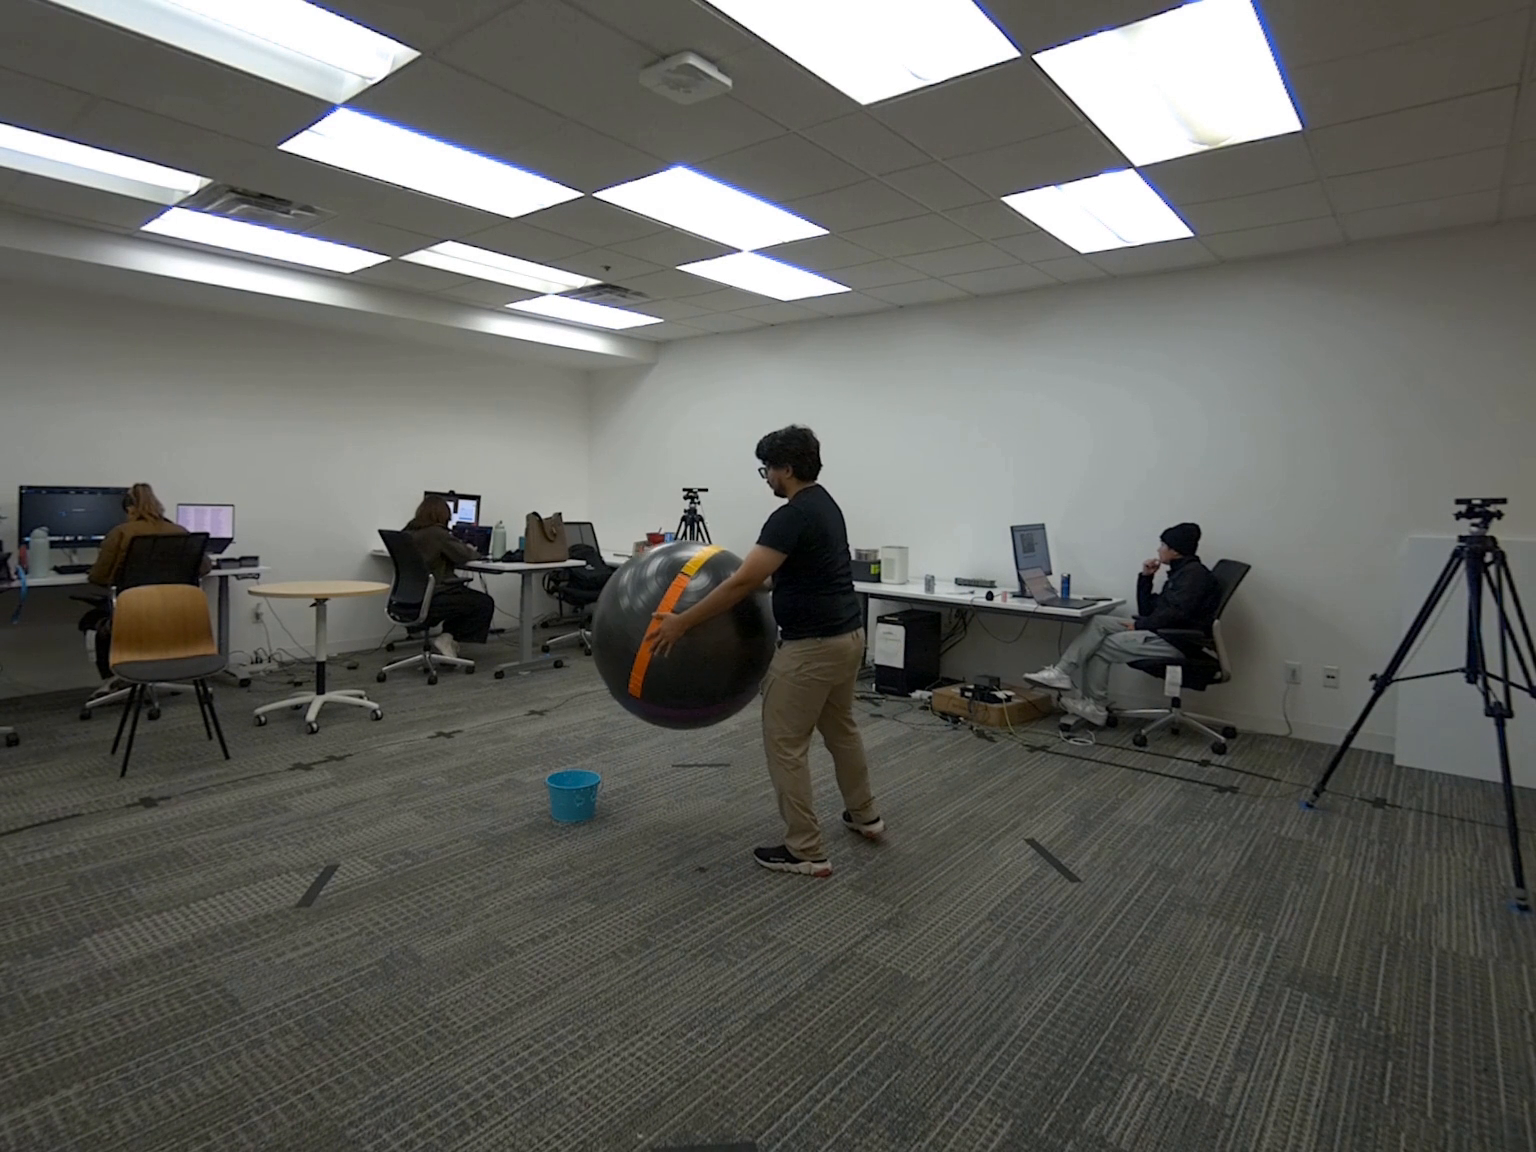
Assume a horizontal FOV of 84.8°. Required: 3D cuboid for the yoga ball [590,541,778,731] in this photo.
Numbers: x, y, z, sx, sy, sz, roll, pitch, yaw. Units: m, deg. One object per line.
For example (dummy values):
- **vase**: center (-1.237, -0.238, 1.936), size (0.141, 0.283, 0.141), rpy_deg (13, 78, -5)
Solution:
- **yoga ball**: center (-0.342, 0.238, 3.451), size (0.757, 0.755, 0.762), rpy_deg (1, 4, -2)
